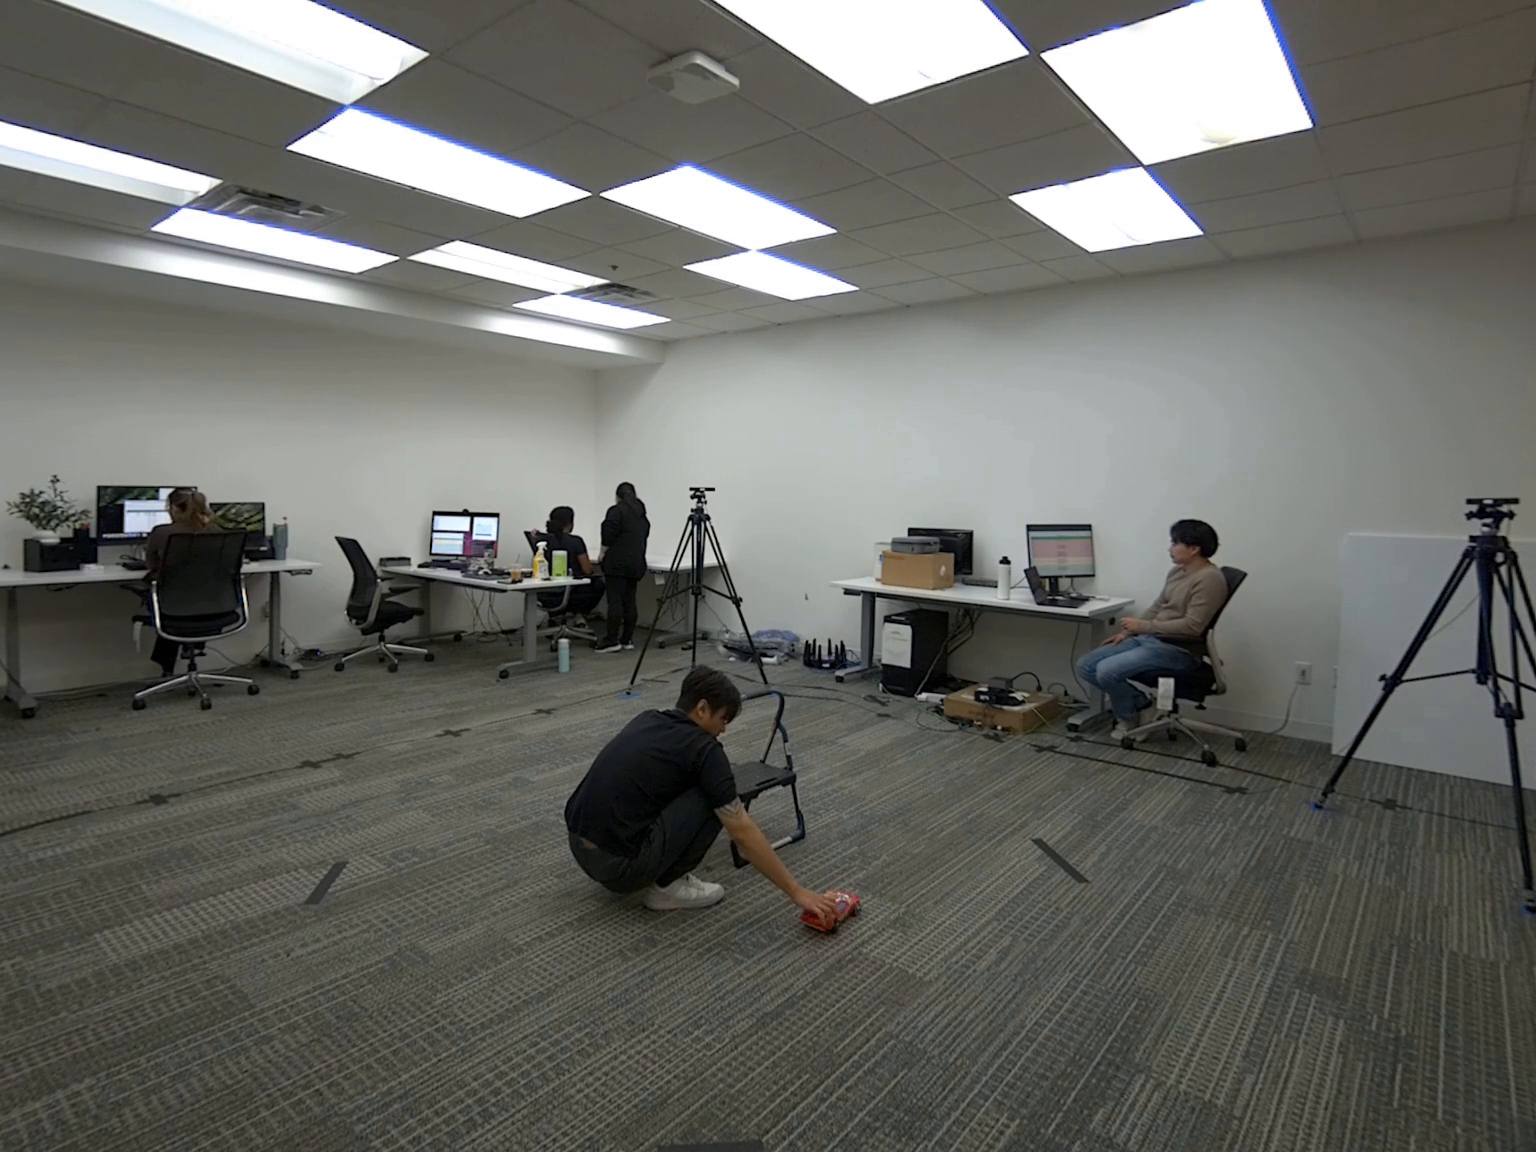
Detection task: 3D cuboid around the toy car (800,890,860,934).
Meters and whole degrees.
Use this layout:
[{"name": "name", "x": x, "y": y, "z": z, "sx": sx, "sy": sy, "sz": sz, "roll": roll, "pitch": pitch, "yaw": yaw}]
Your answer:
[{"name": "toy car", "x": 0.191, "y": 1.085, "z": 2.743, "sx": 0.134, "sy": 0.083, "sz": 0.246, "roll": 7, "pitch": -2, "yaw": 34}]
